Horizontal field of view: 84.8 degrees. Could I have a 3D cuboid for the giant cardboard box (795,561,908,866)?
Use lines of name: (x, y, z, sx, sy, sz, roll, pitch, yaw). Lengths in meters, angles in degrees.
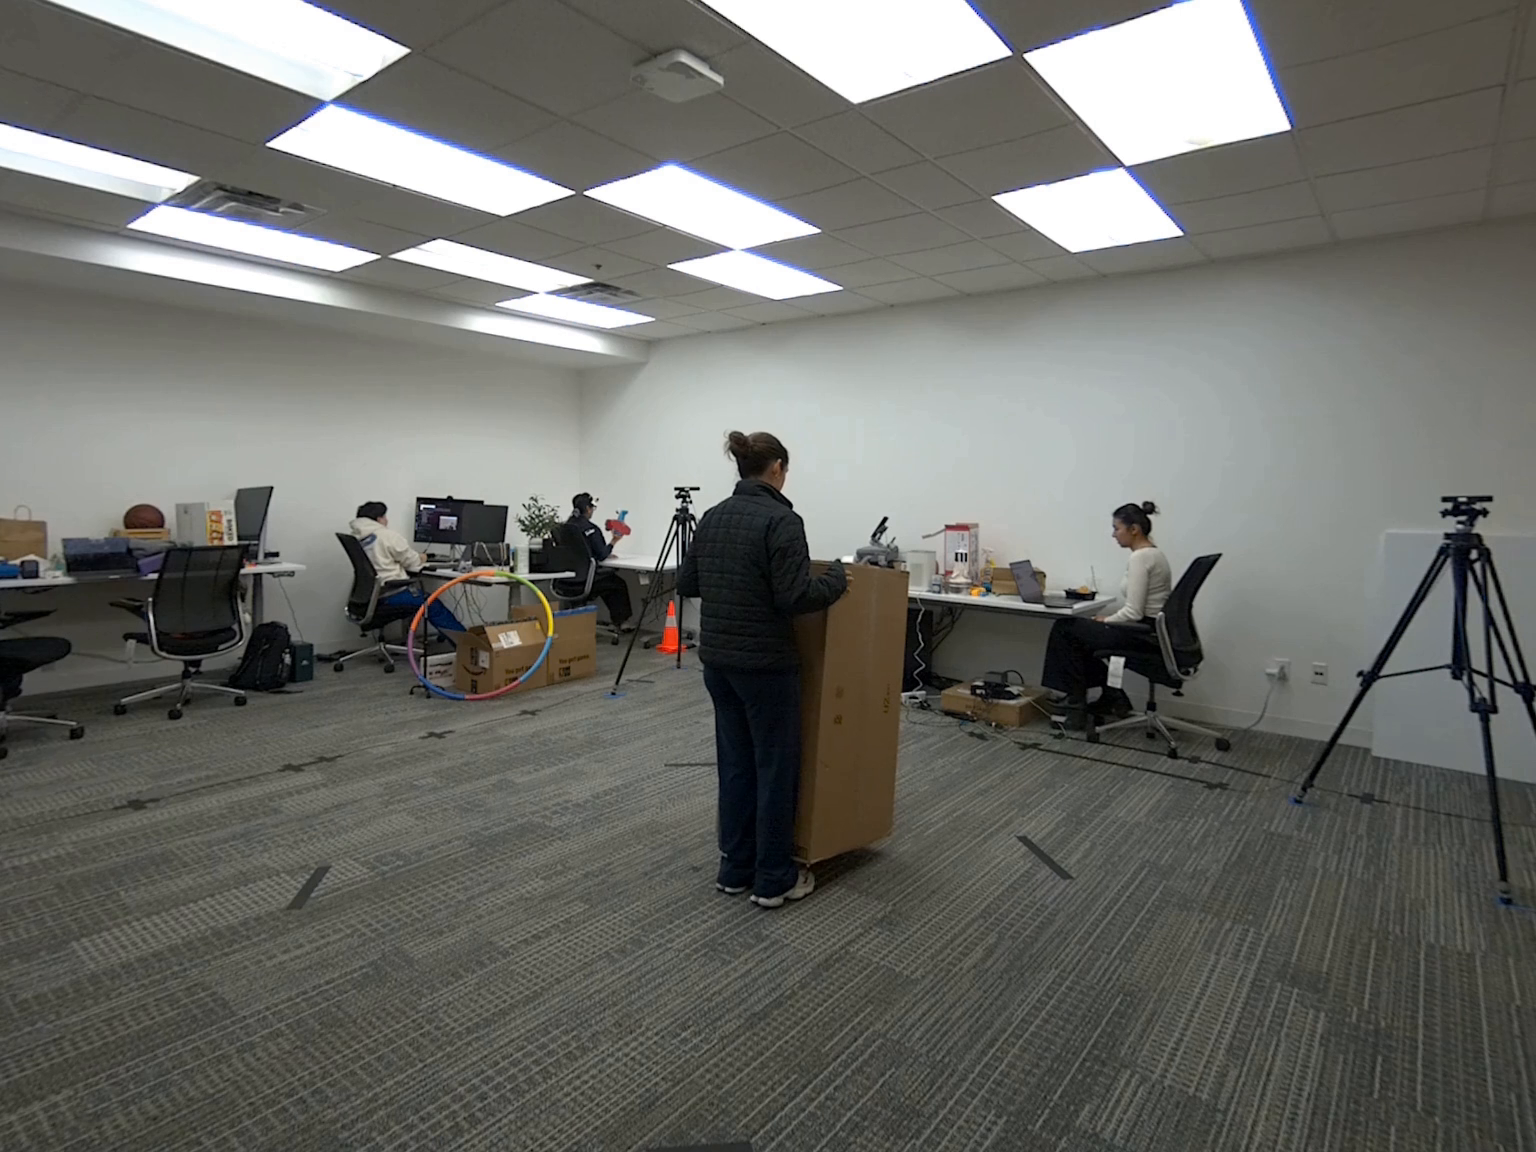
giant cardboard box: (0.200, 0.465, 3.239, 0.440, 1.028, 0.557, 3, -3, 40)
